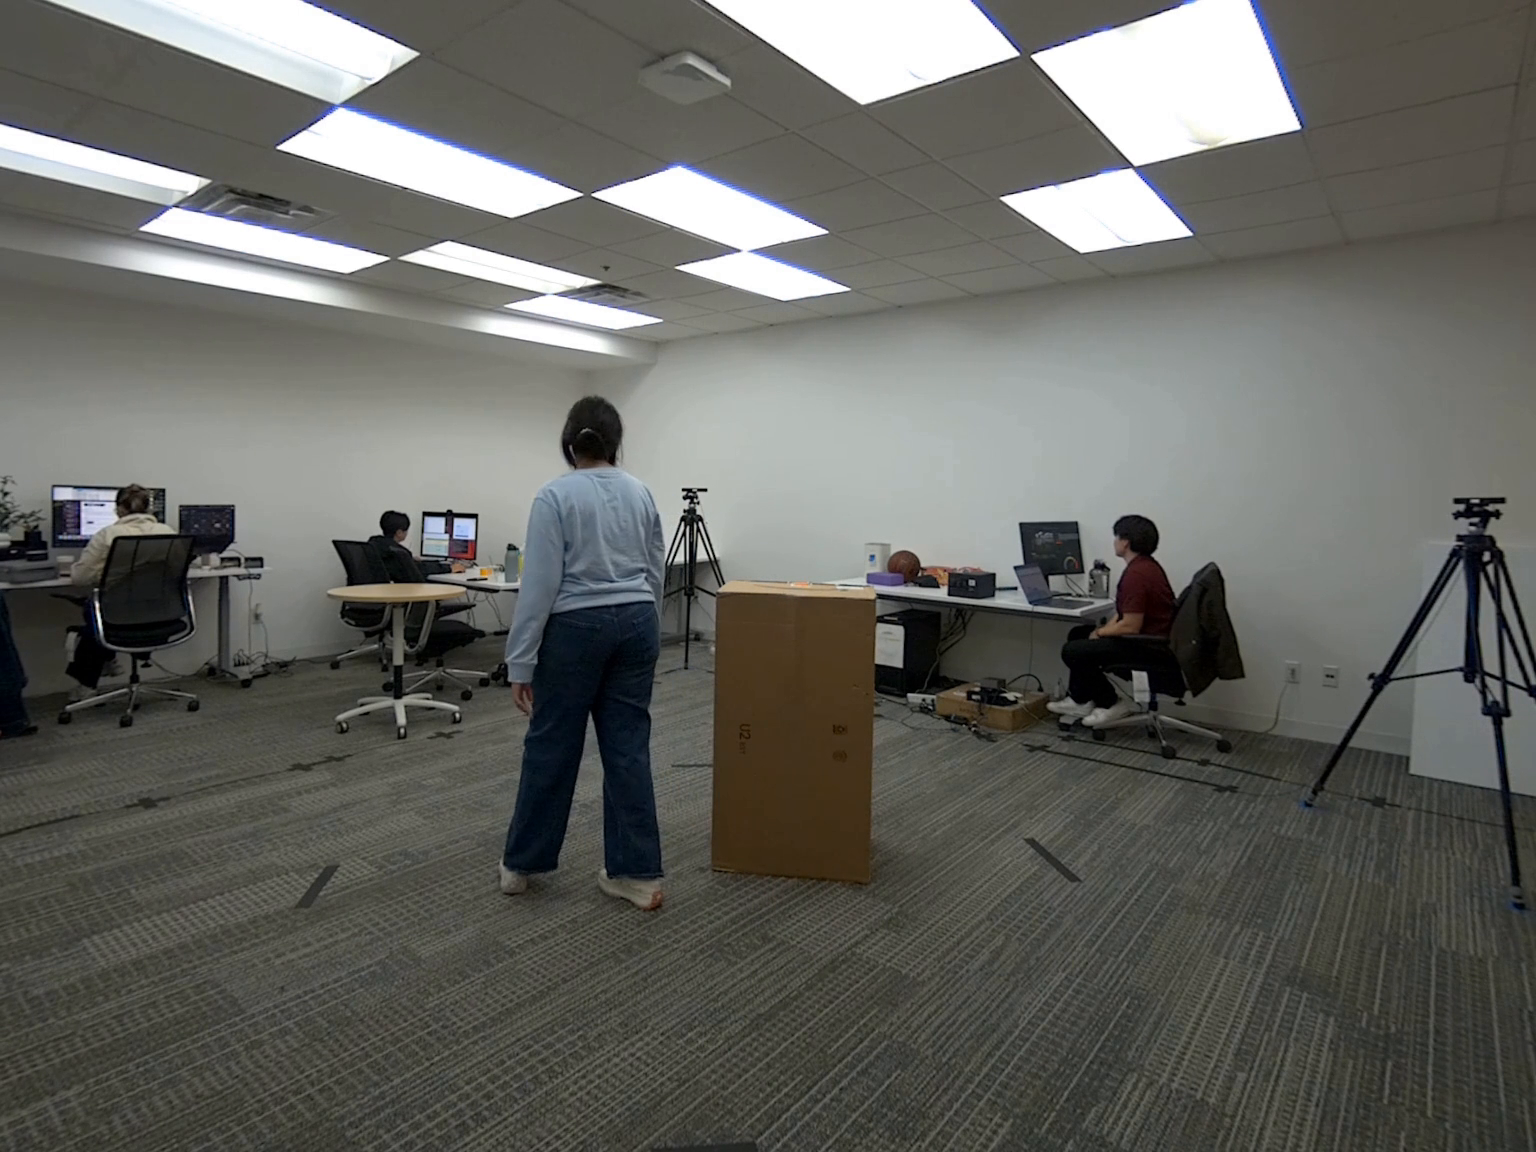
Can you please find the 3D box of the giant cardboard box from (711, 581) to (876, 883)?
[{"bbox_3d":[0.098,0.553,3.246,0.582,1.023,0.424,2,3,7],"label":"giant cardboard box"}]
